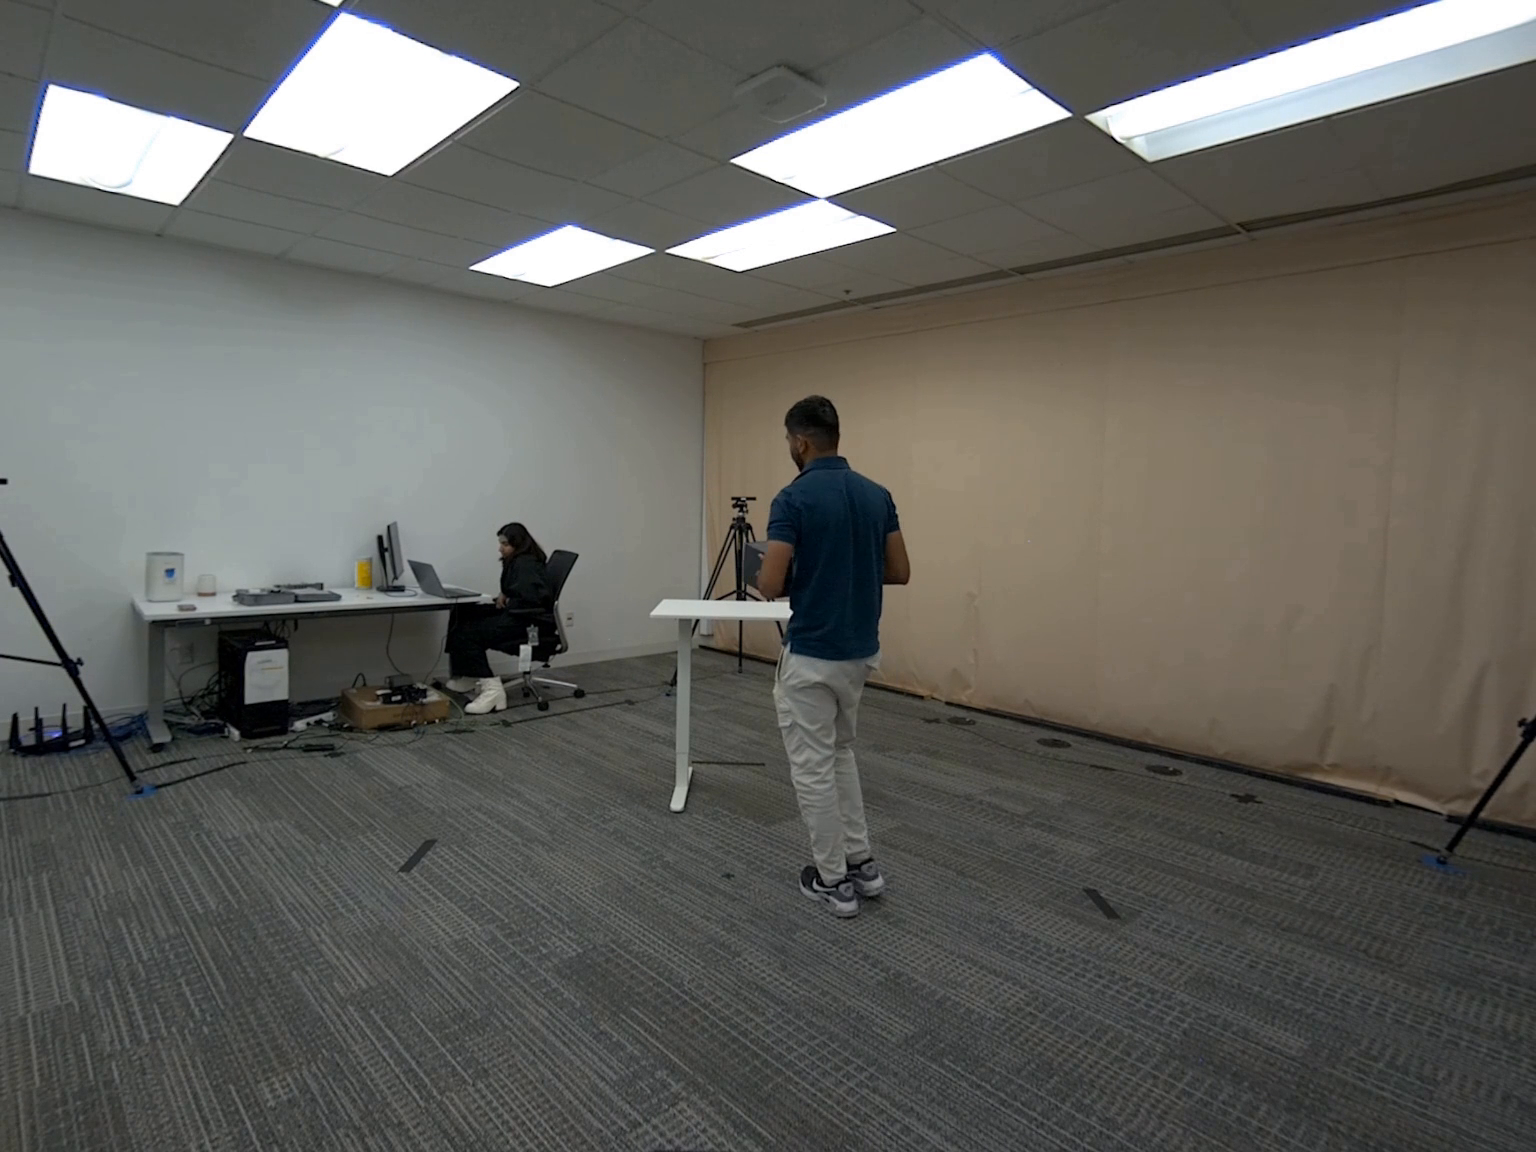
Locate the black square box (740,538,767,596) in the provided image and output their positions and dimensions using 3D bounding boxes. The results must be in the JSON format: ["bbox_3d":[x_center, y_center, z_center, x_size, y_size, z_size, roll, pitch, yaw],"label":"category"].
[{"bbox_3d":[0.039,-0.039,3.173,0.214,0.154,0.233,0,15,-18],"label":"black square box"}]
